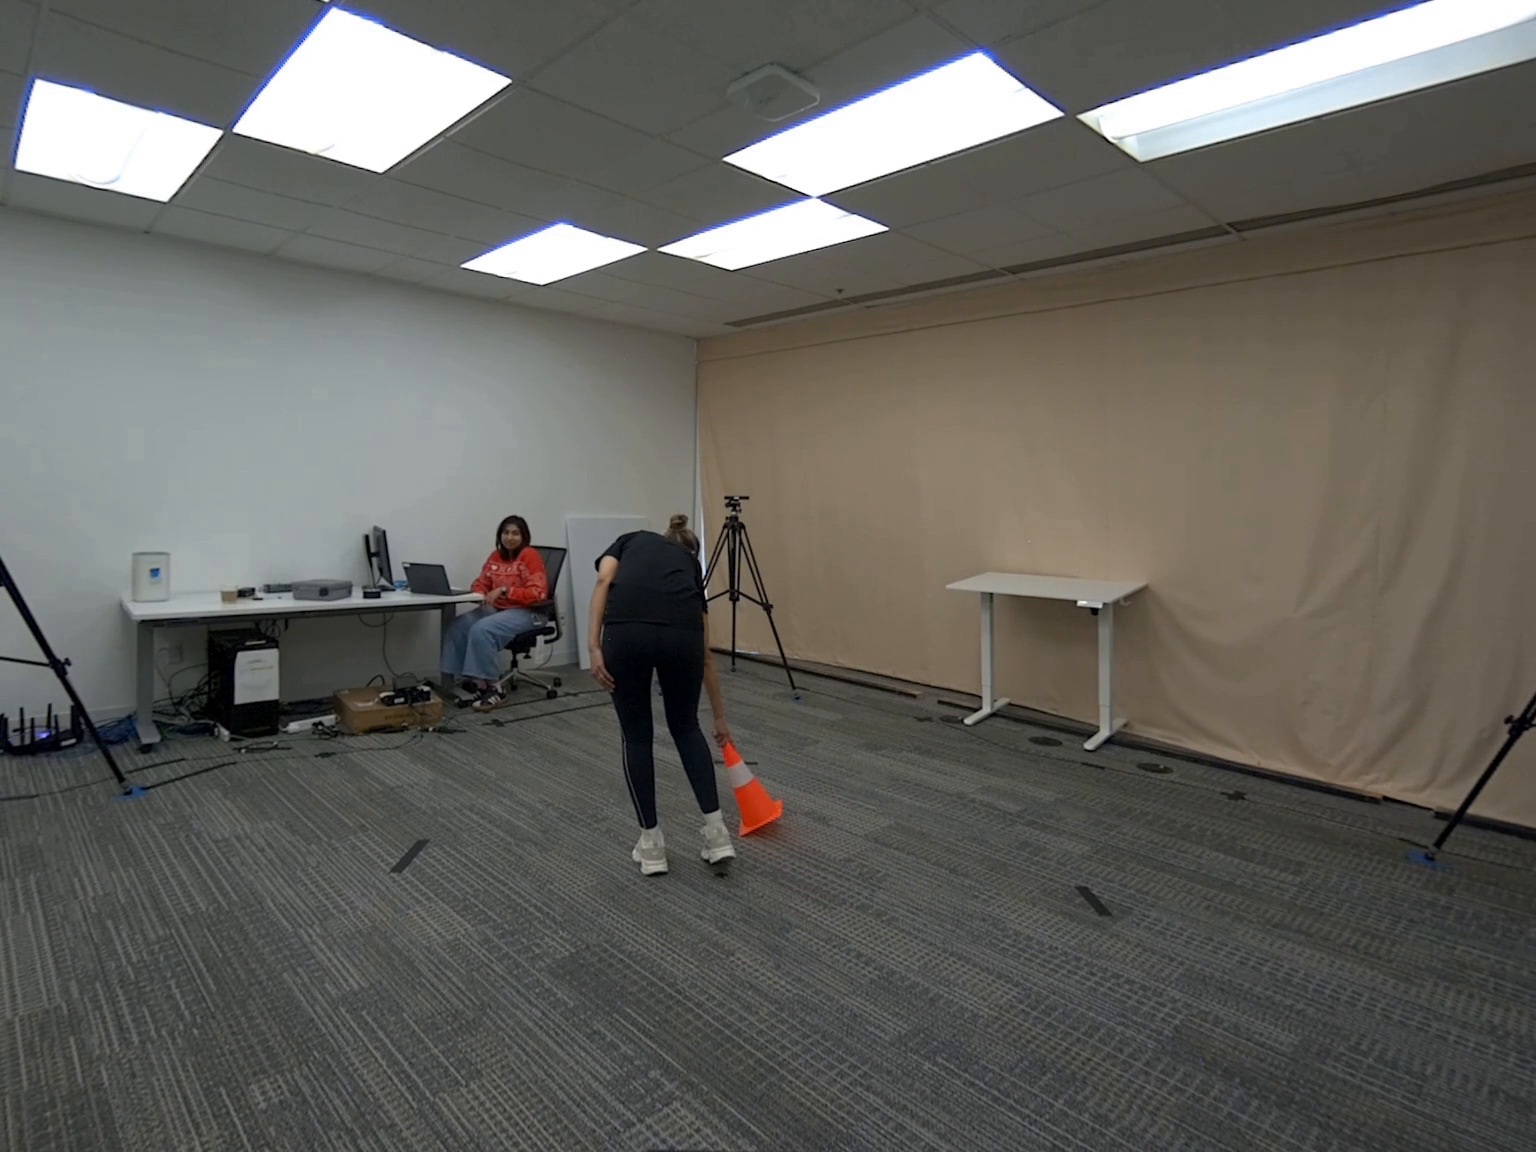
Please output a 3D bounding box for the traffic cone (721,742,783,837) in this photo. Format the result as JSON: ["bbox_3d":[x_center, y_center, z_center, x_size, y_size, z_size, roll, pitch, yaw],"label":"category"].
[{"bbox_3d":[-0.128,0.858,3.553,0.205,0.384,0.202,-27,-1,7],"label":"traffic cone"}]
